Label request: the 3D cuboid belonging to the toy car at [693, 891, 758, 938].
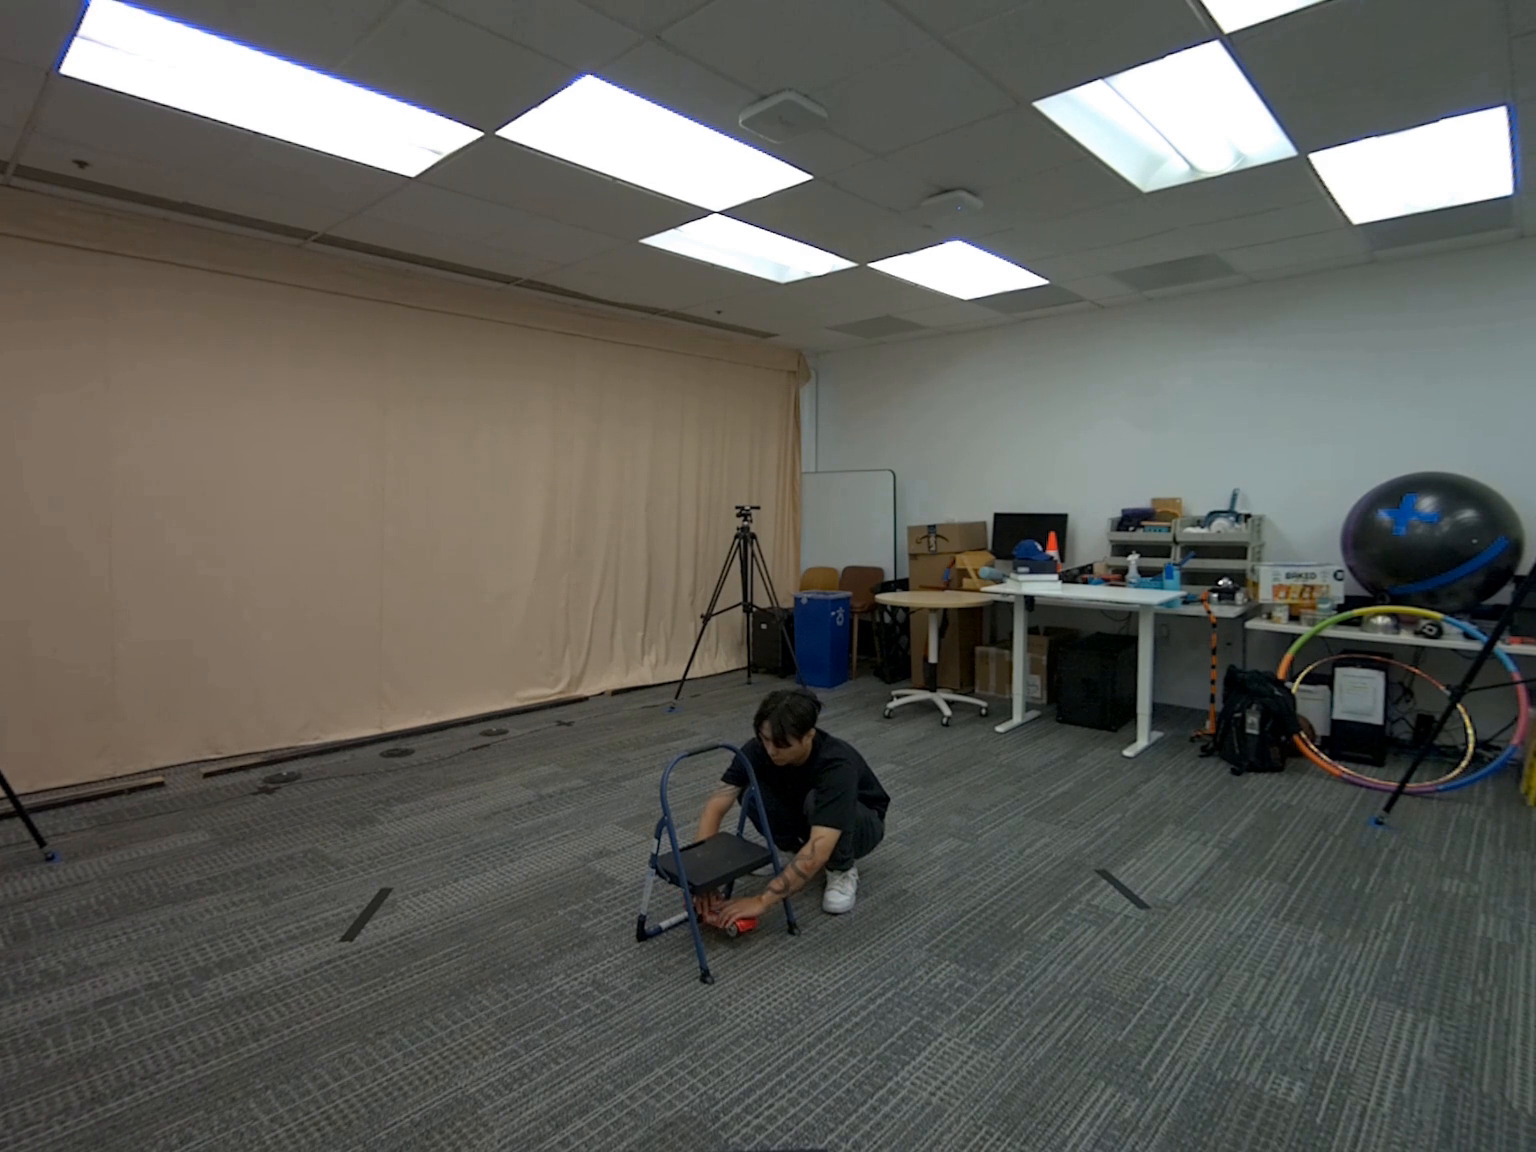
[{"bbox_3d":[-0.163,1.115,2.747,0.263,0.083,0.126,18,4,37],"label":"toy car"}]
